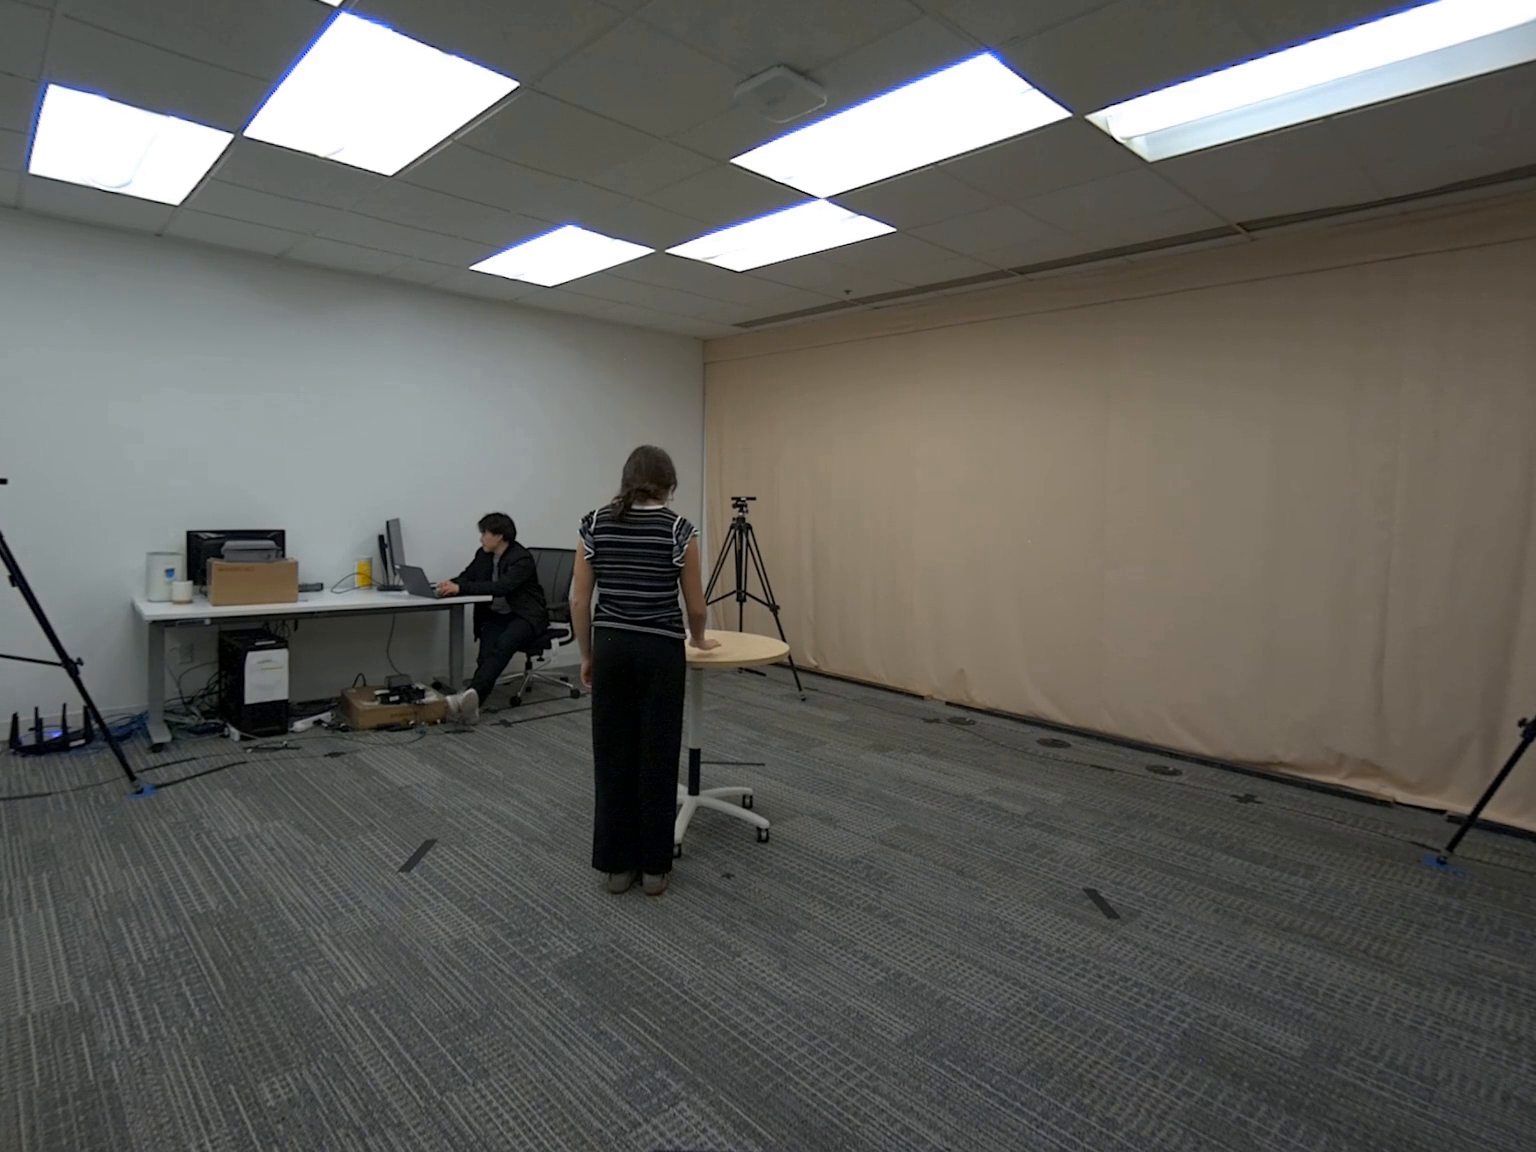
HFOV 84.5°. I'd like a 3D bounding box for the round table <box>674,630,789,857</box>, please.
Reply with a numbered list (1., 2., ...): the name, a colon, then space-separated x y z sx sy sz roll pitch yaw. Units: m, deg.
1. round table: -0.314 0.677 3.550 0.763 0.792 0.766 2 4 -1
